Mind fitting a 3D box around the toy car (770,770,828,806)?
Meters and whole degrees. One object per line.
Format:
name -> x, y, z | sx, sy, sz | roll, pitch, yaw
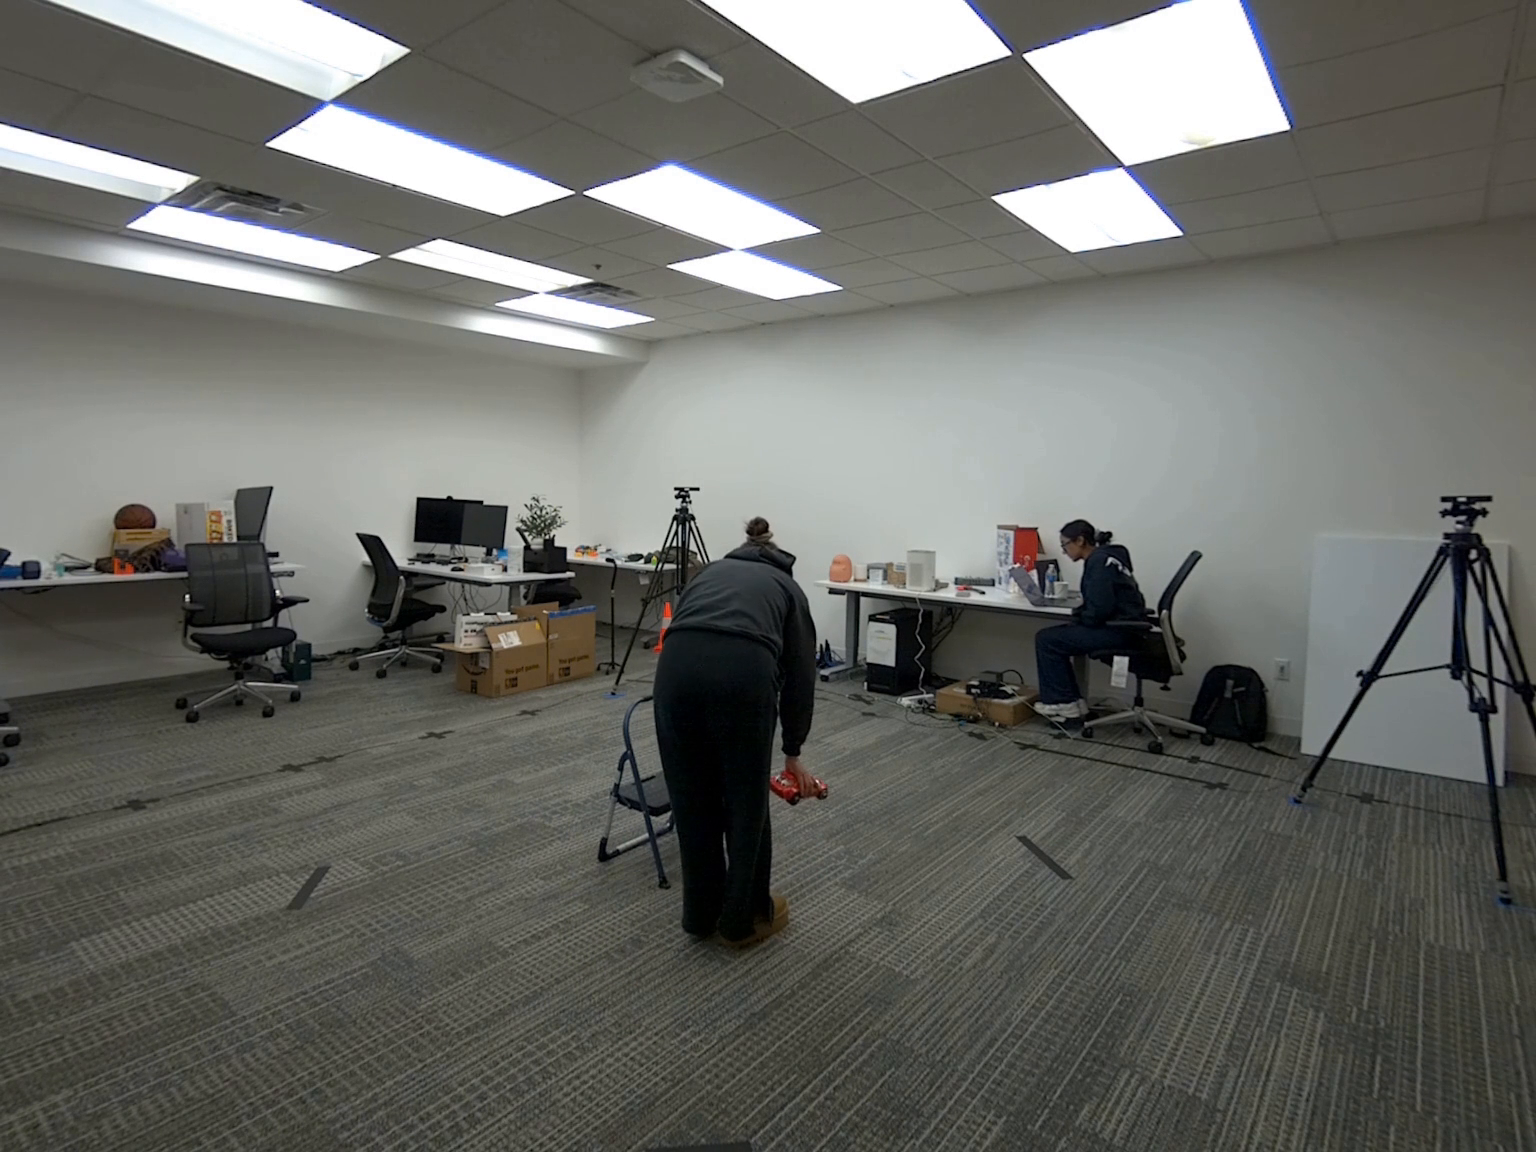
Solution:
toy car -> 0.084, 0.706, 2.825 | 0.136, 0.083, 0.244 | 25, 2, 43
